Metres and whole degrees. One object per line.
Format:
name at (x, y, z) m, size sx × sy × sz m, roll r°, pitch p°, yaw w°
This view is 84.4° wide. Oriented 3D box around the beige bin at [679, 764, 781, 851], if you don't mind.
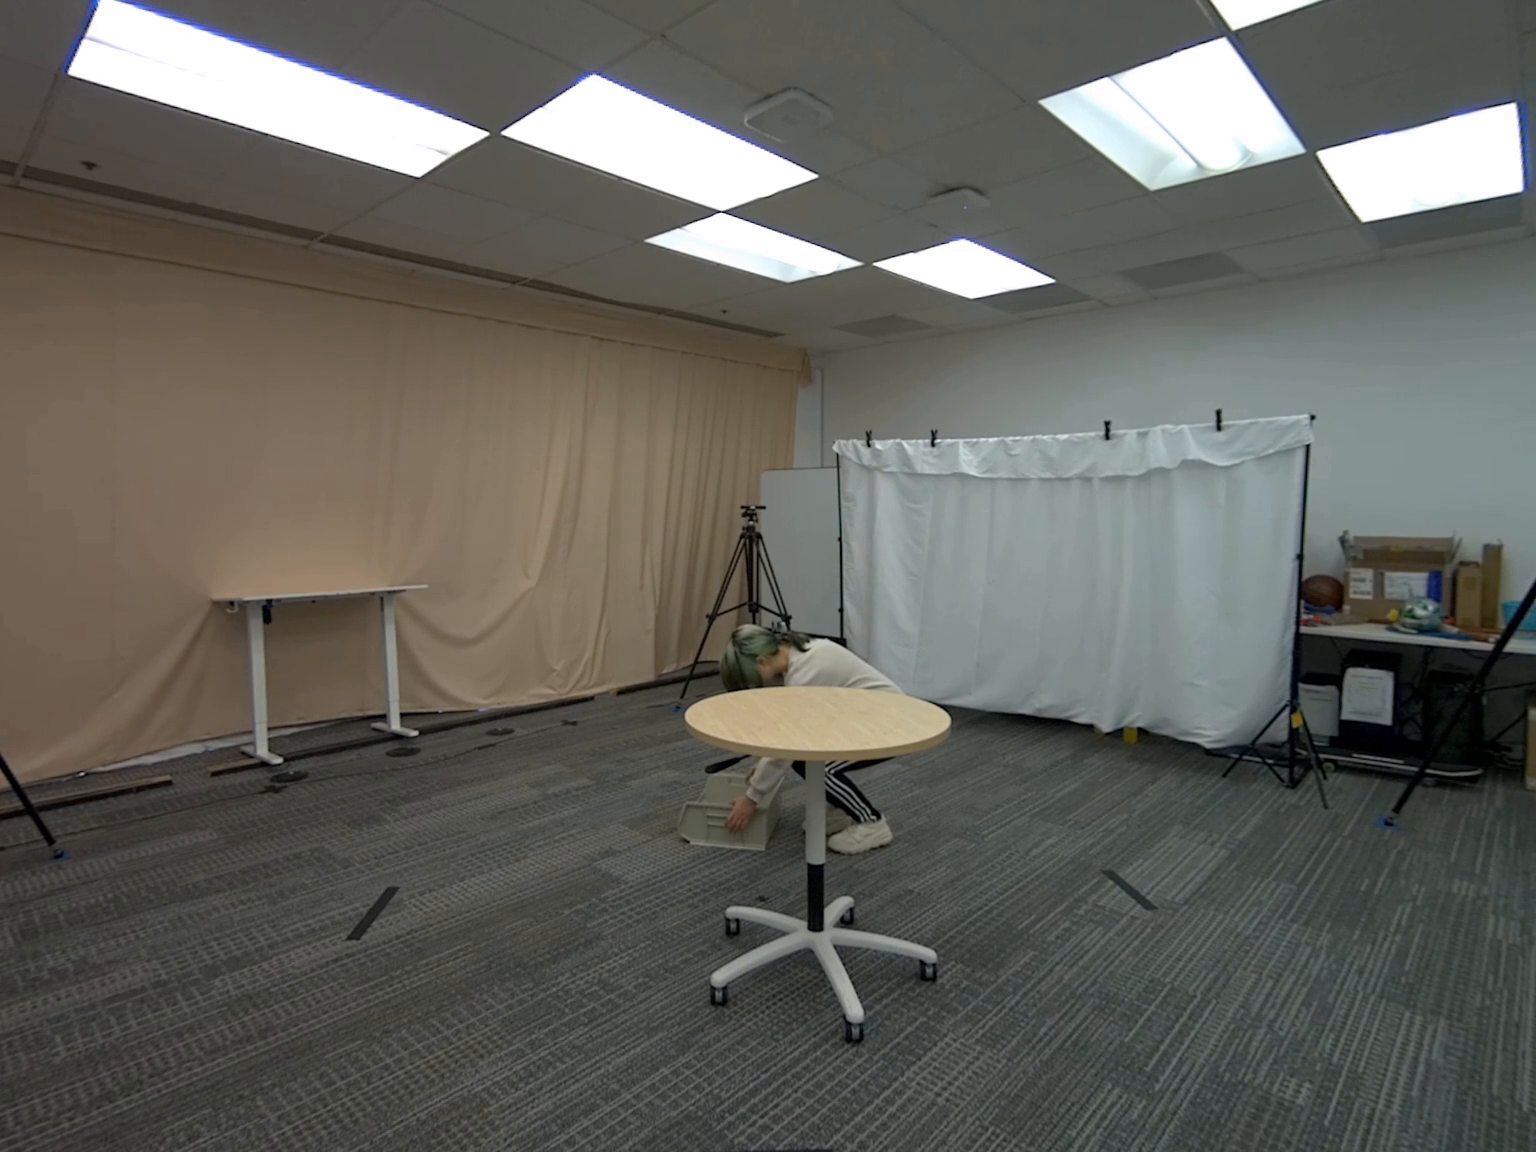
beige bin at (-0.149, 1.008, 3.631) m, size 0.383 × 0.189 × 0.417 m, roll 1°, pitch 3°, yaw 12°
